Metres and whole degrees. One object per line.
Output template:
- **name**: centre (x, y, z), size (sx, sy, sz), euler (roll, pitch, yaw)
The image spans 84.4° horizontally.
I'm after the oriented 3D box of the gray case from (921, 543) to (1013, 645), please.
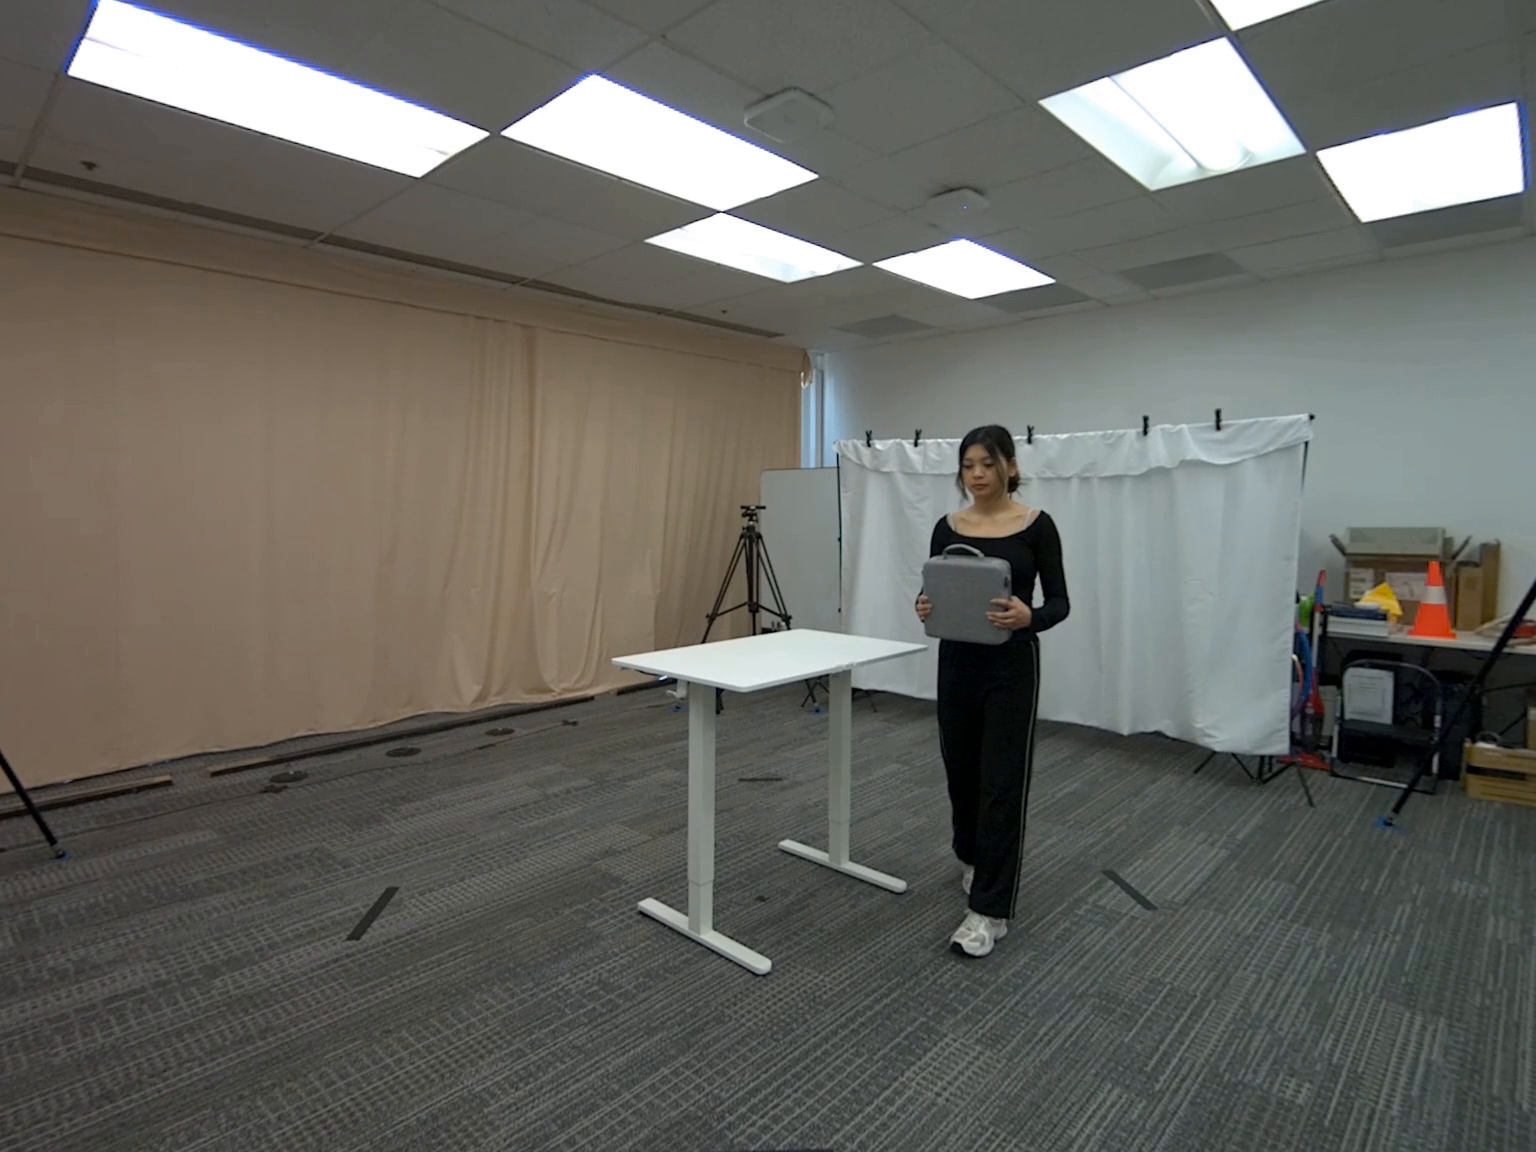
- **gray case**: centre (0.611, 0.067, 2.572), size (0.265, 0.259, 0.102), euler (4, 13, 38)
